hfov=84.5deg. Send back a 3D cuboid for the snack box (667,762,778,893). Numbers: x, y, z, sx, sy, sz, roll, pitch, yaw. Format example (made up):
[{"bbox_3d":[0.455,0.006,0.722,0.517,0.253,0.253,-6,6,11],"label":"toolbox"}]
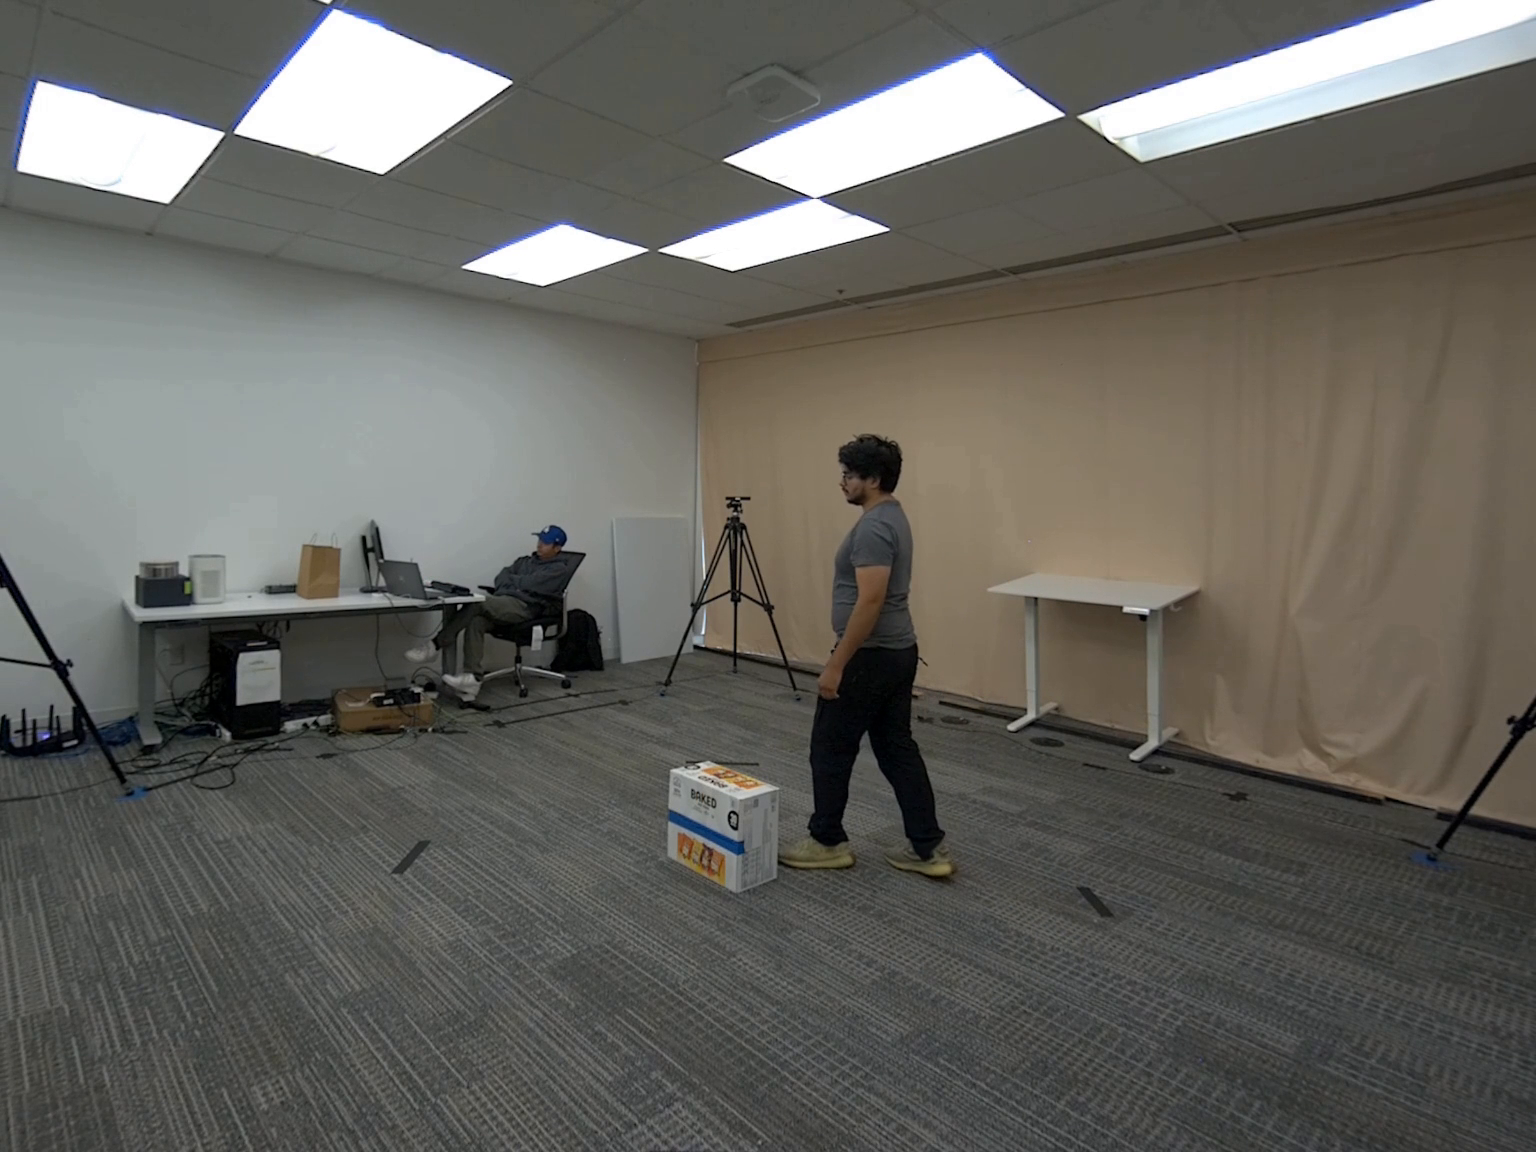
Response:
[{"bbox_3d":[-0.179,0.931,3.164,0.201,0.339,0.415,-1,5,-44],"label":"snack box"}]
